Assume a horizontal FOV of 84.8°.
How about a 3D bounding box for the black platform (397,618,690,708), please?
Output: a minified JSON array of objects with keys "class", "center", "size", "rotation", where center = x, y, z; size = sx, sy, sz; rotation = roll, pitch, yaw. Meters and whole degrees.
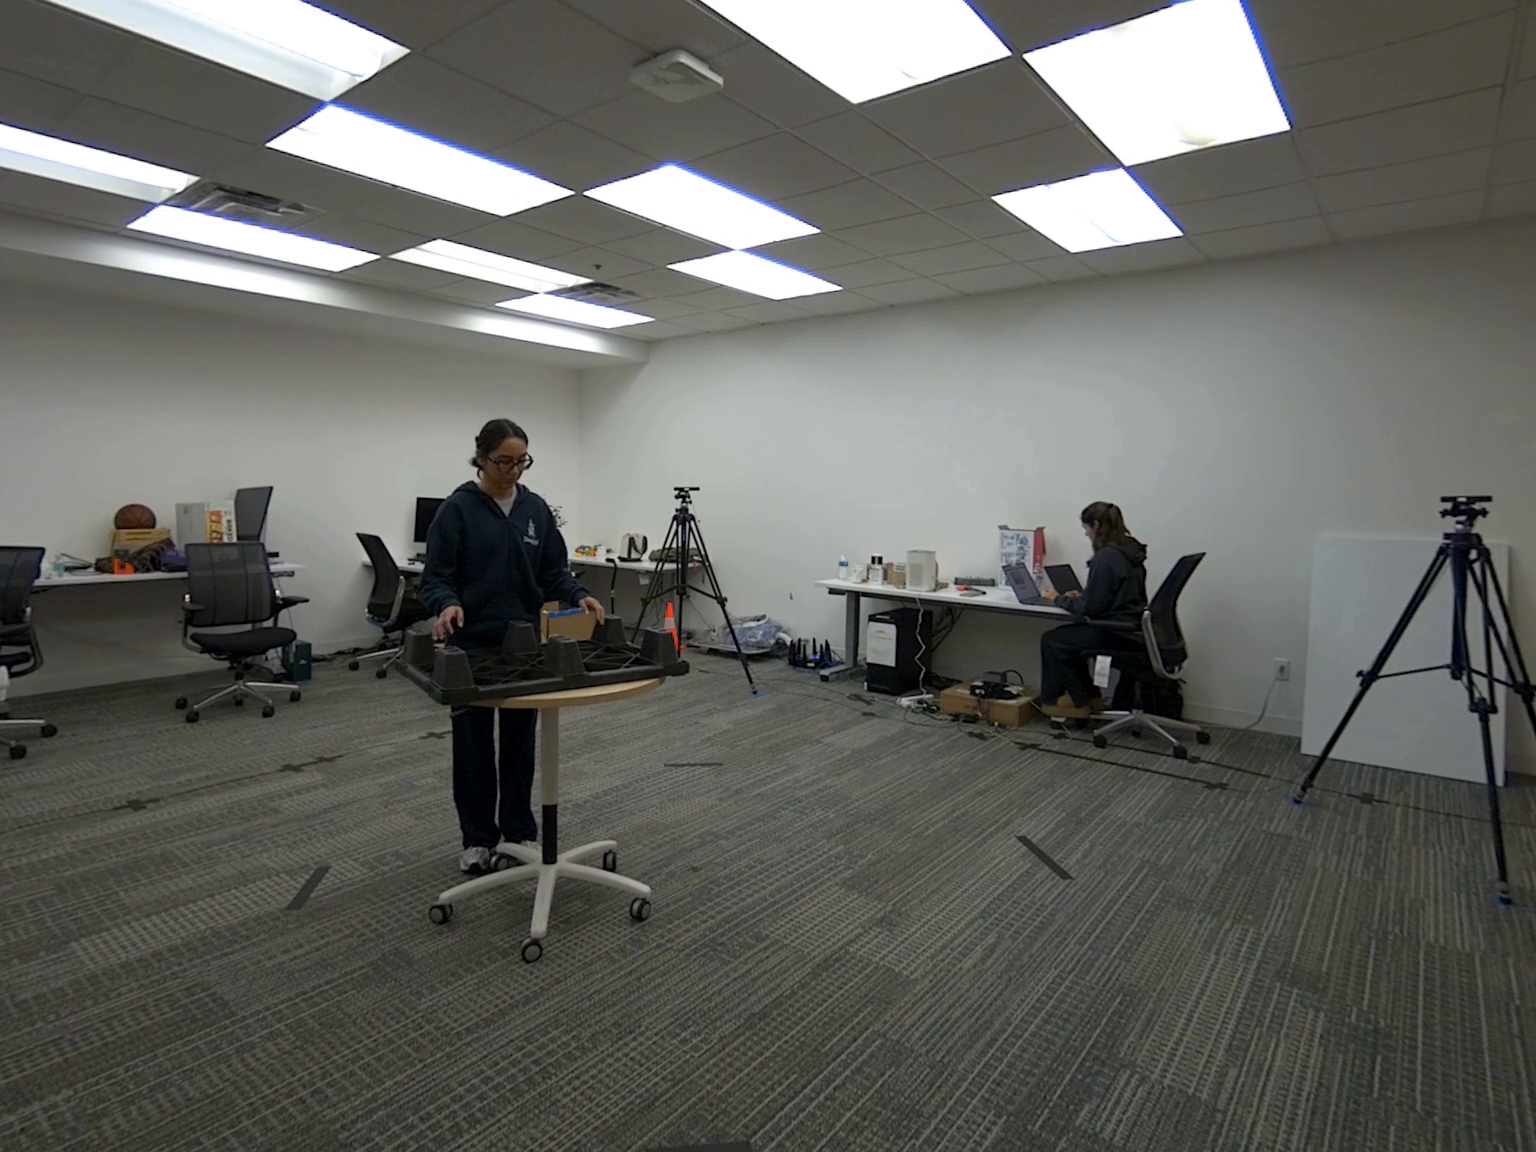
[{"class":"black platform","center":[-0.751,0.250,2.769],"size":[0.783,0.143,0.624],"rotation":[-4,6,-35]}]
